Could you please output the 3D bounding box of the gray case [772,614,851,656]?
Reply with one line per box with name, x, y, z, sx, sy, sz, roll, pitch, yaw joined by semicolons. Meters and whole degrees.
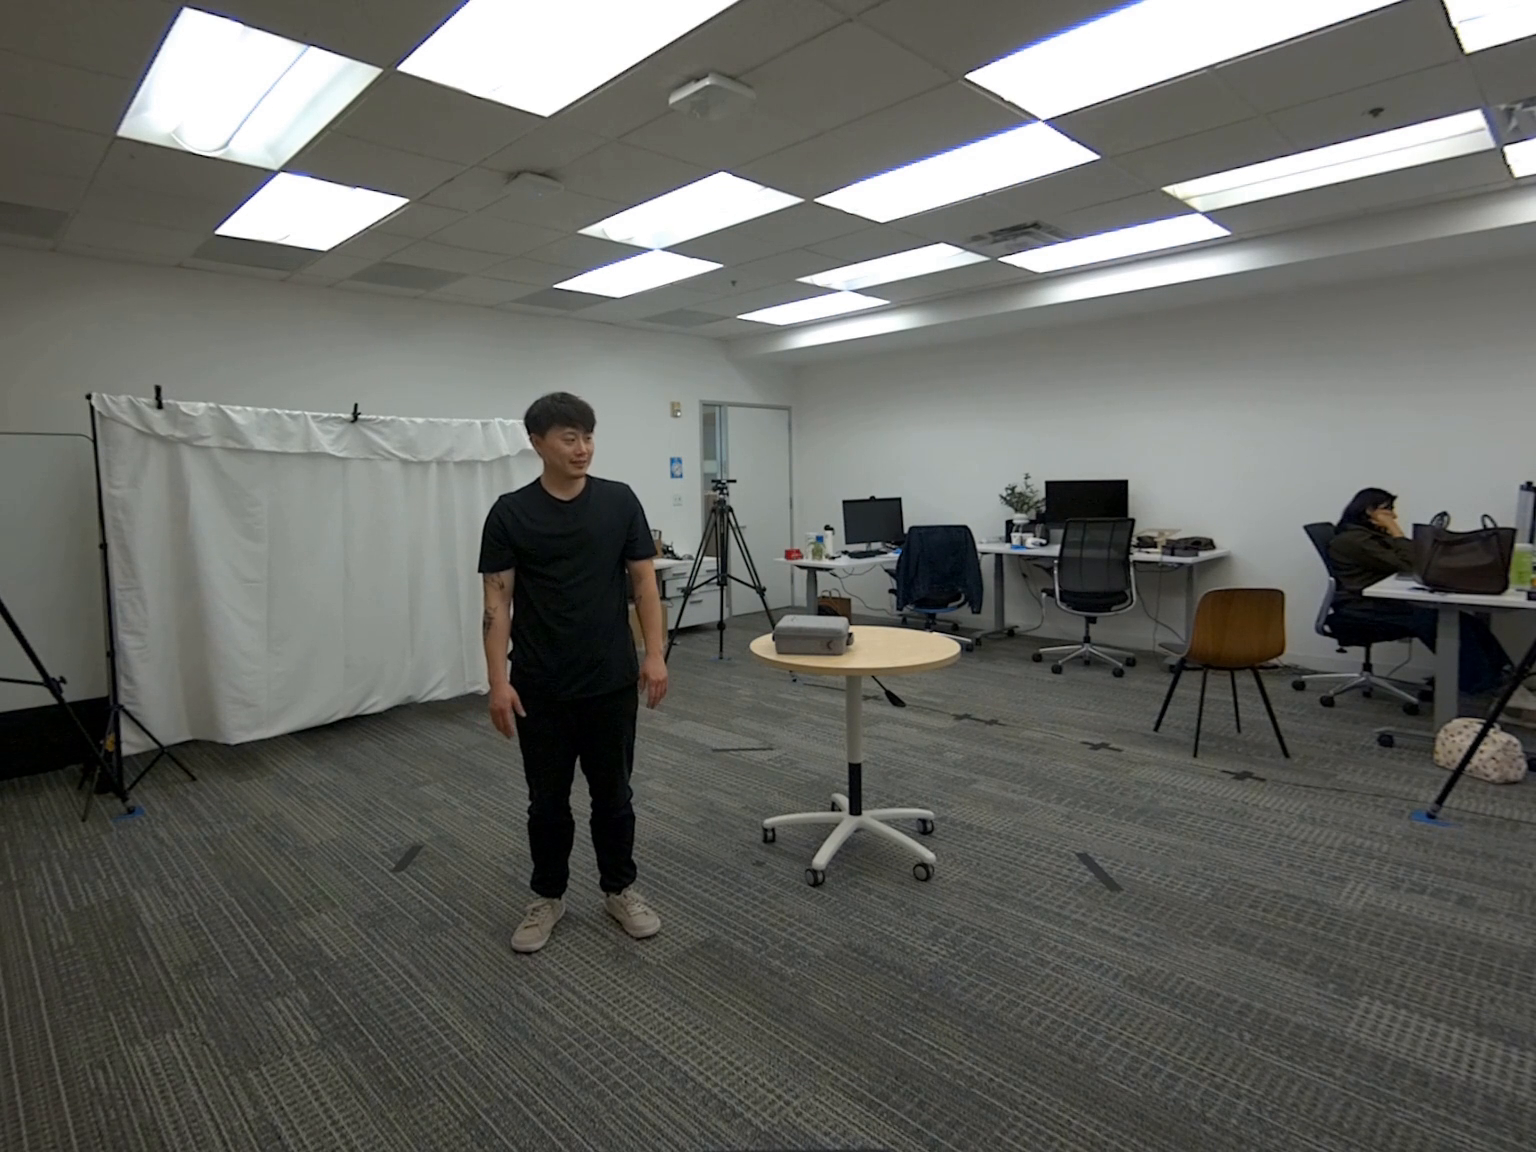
gray case;0.166;0.210;3.099;0.264;0.104;0.255;1;6;11
